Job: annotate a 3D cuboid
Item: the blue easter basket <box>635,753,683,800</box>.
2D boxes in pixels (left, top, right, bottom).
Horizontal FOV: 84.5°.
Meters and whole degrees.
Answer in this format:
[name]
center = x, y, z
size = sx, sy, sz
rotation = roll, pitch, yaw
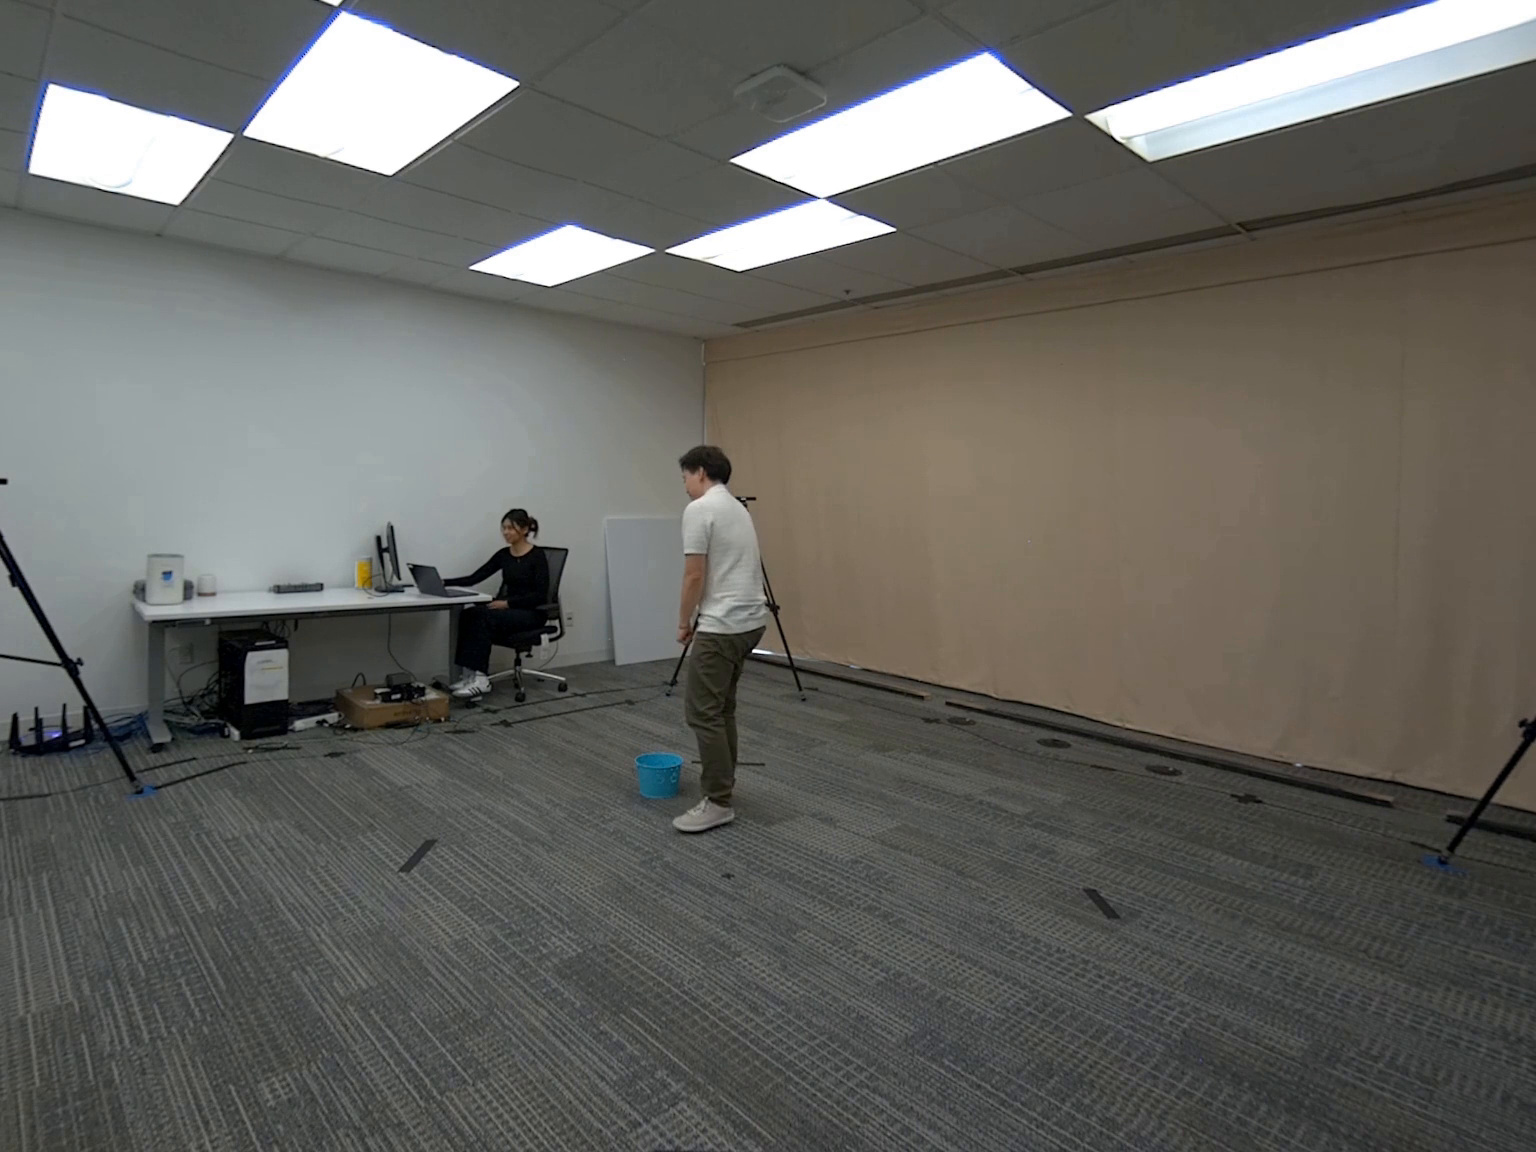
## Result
[blue easter basket]
center = -0.521, 0.943, 3.992
size = 0.243, 0.155, 0.244
rotation = 1, 5, -1
